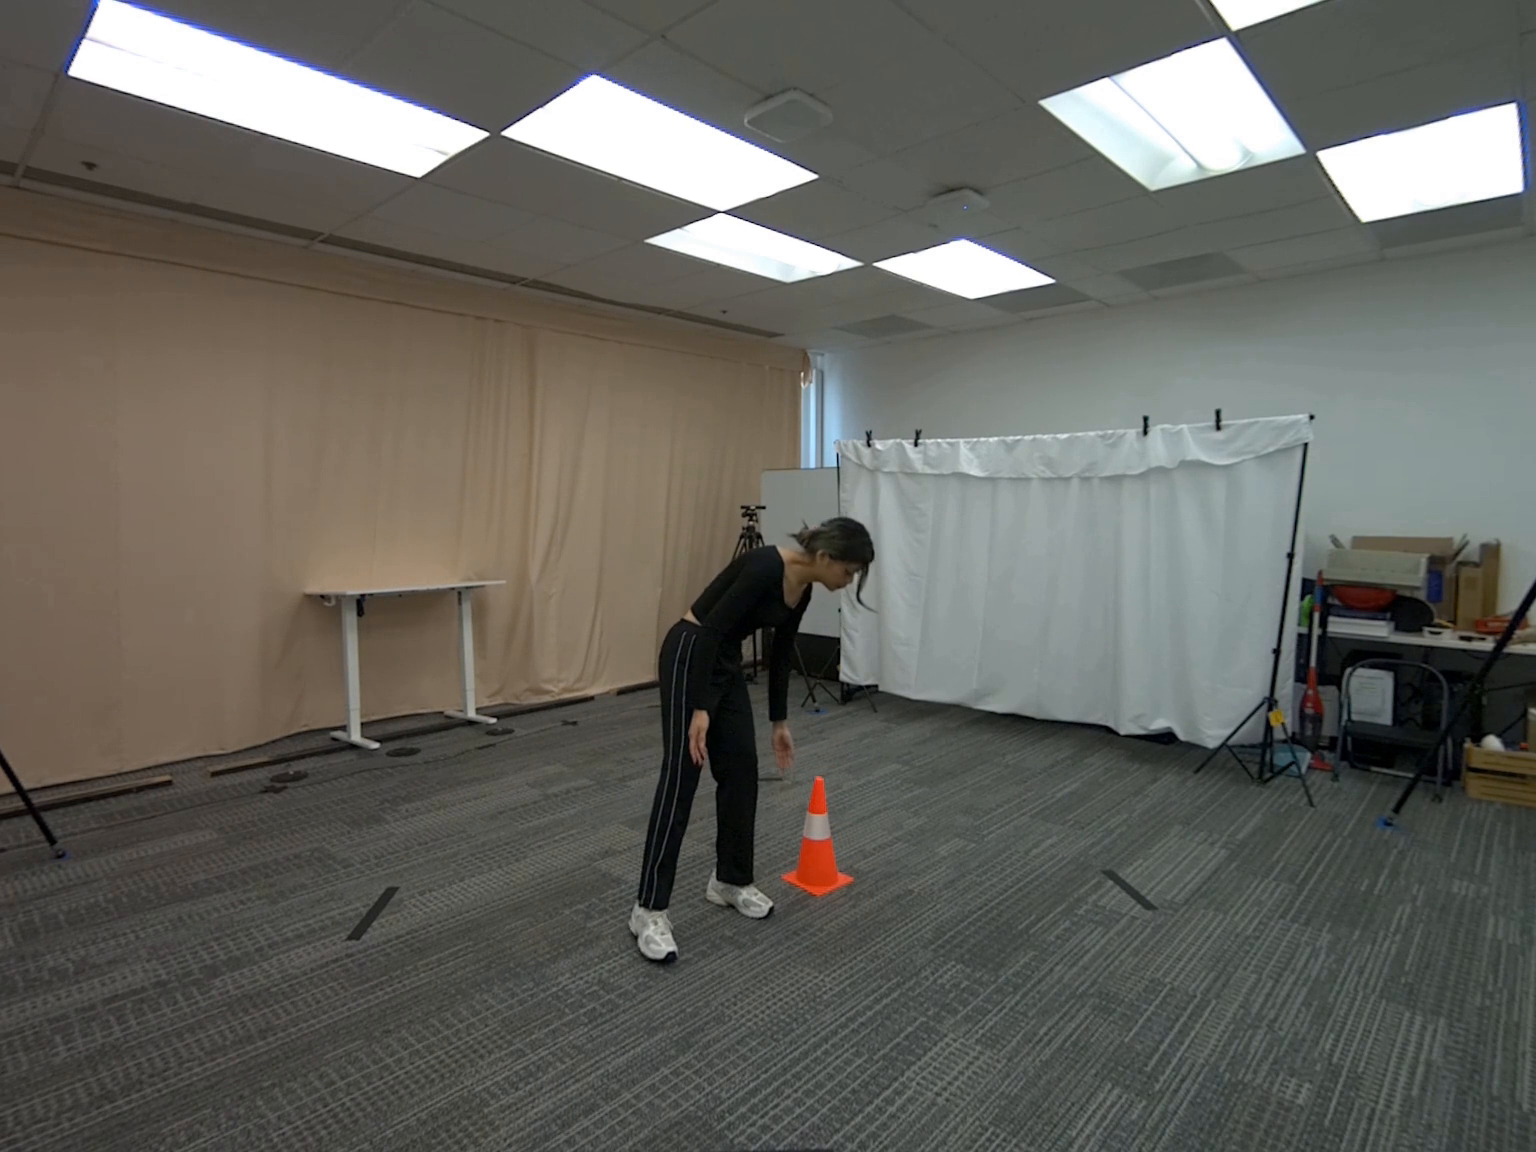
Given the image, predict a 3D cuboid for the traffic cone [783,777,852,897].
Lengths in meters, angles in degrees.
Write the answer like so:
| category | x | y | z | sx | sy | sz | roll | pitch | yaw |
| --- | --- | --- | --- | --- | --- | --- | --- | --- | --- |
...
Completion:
| category | x | y | z | sx | sy | sz | roll | pitch | yaw |
| --- | --- | --- | --- | --- | --- | --- | --- | --- | --- |
| traffic cone | 0.191 | 0.947 | 3.127 | 0.197 | 0.383 | 0.212 | -3 | 5 | -37 |
